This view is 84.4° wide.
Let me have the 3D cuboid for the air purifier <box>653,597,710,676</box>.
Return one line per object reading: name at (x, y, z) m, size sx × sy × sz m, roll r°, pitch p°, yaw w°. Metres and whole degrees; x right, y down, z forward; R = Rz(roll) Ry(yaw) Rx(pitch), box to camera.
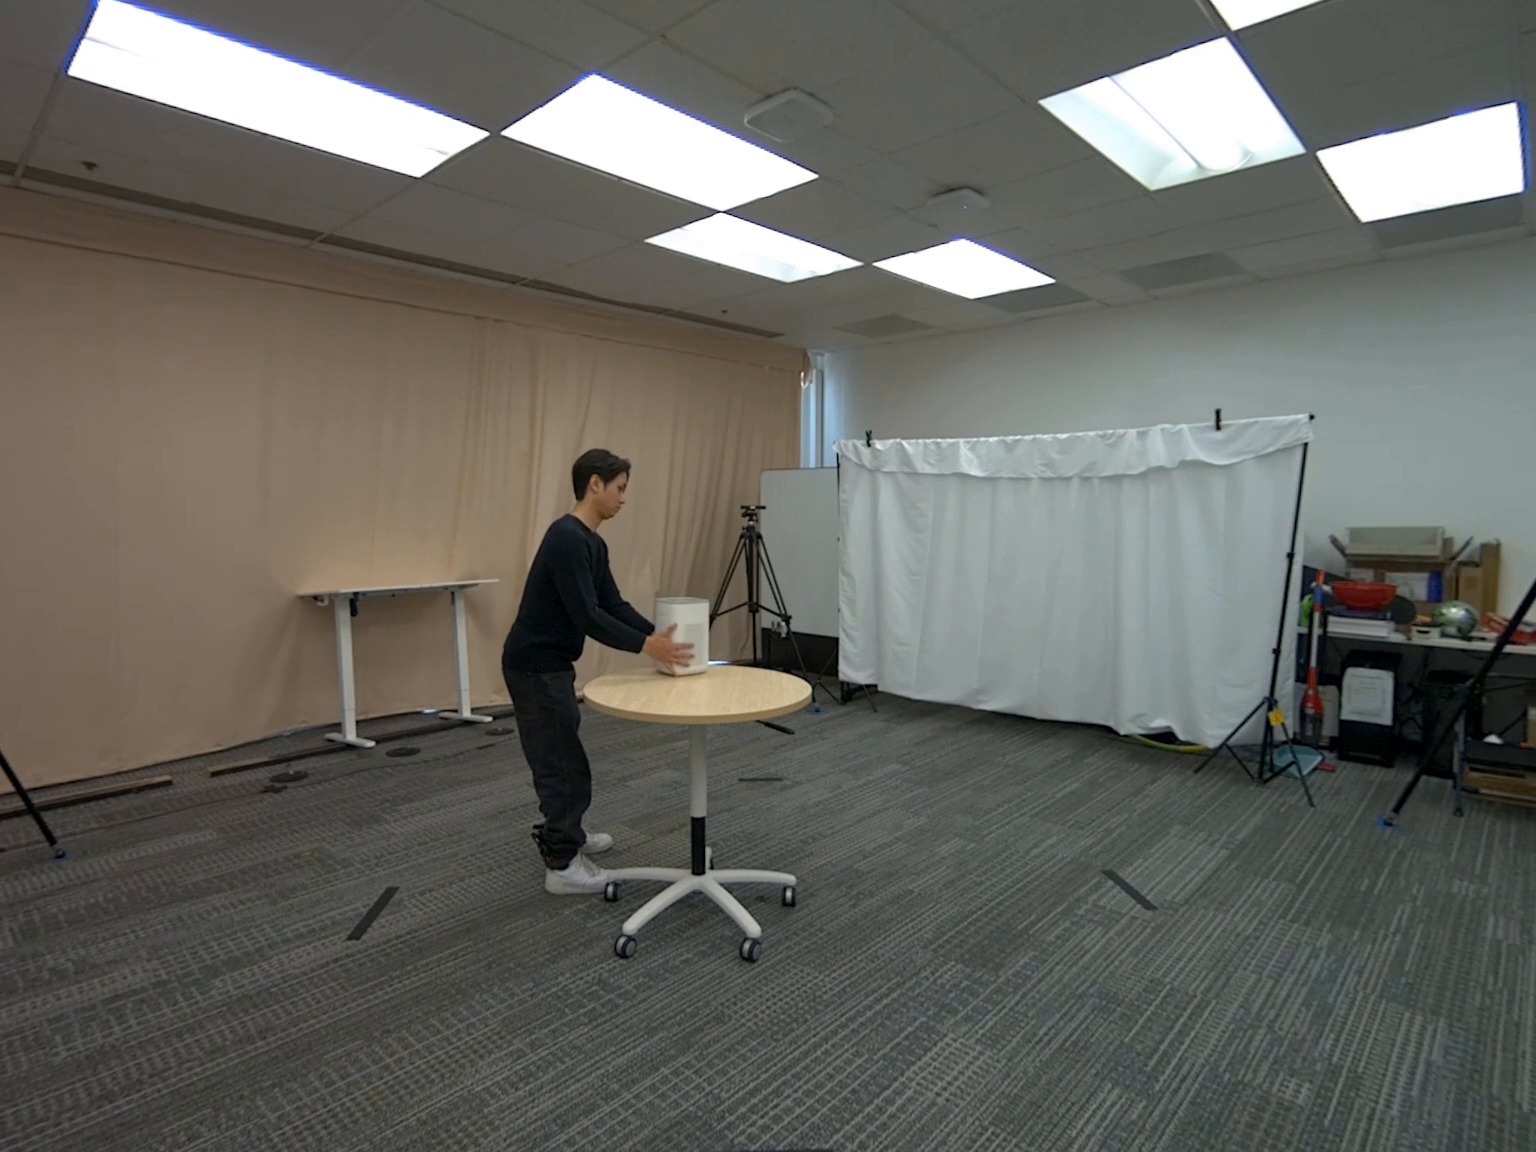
air purifier at (-0.312, 0.218, 3.070) m, size 0.166 × 0.265 × 0.177 m, roll -1°, pitch 3°, yaw -41°
